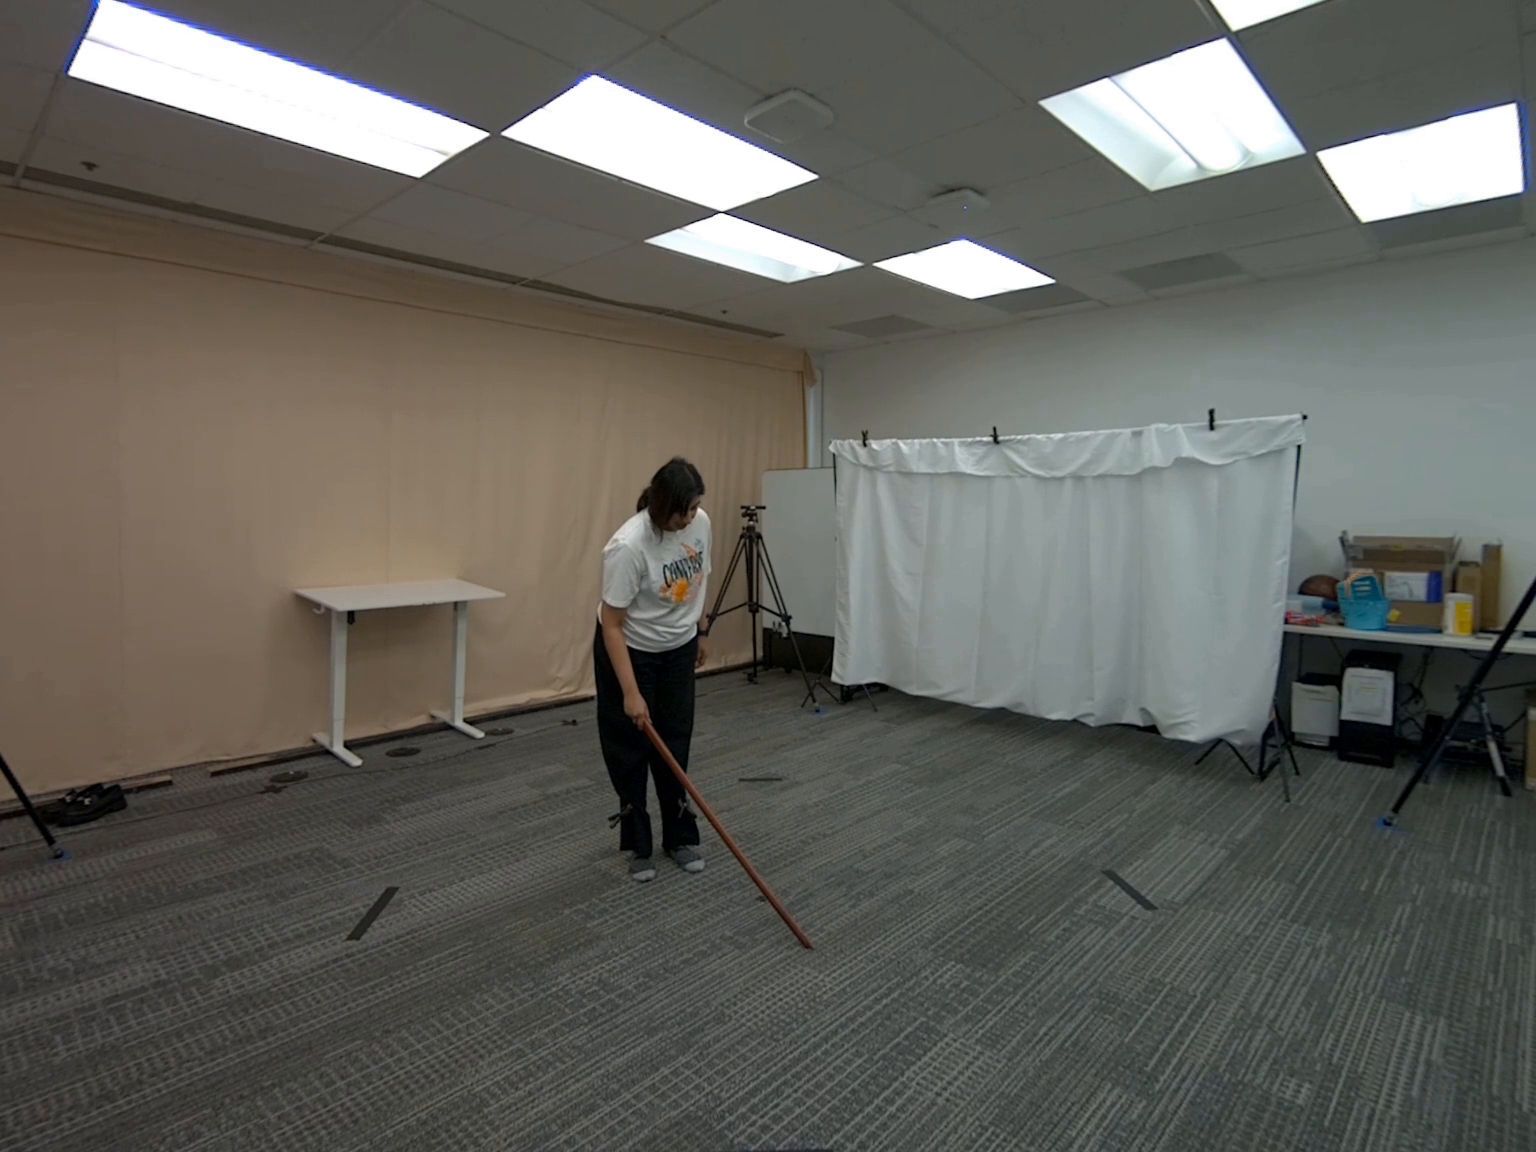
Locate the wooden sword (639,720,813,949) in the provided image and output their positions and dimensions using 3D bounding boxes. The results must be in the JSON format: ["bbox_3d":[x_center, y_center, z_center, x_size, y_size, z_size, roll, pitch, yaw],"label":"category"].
[{"bbox_3d":[-0.184,0.819,2.864,0.050,0.024,1.052,-18,55,-45],"label":"wooden sword"}]
